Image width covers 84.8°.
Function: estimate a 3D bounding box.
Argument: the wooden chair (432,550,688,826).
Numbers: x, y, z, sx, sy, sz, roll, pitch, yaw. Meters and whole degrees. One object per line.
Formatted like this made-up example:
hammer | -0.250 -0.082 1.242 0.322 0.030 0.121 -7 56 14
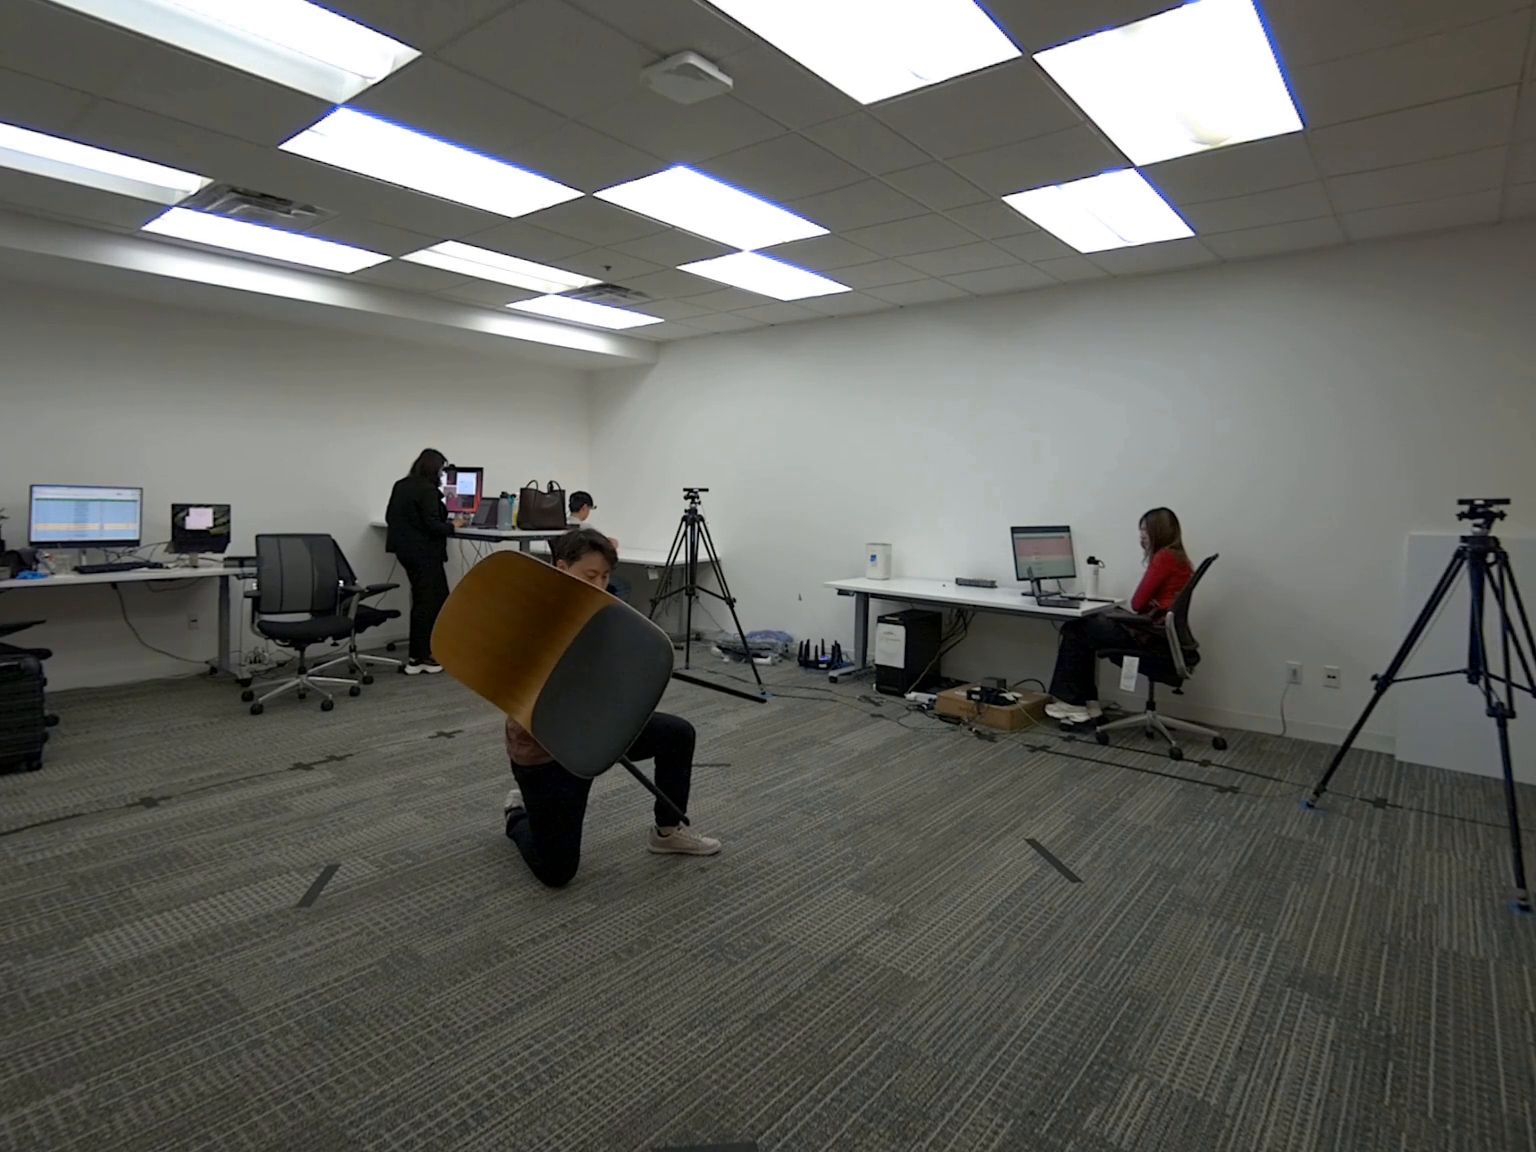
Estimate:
wooden chair | -0.507 0.321 2.512 0.841 0.479 0.544 39 -9 -40
